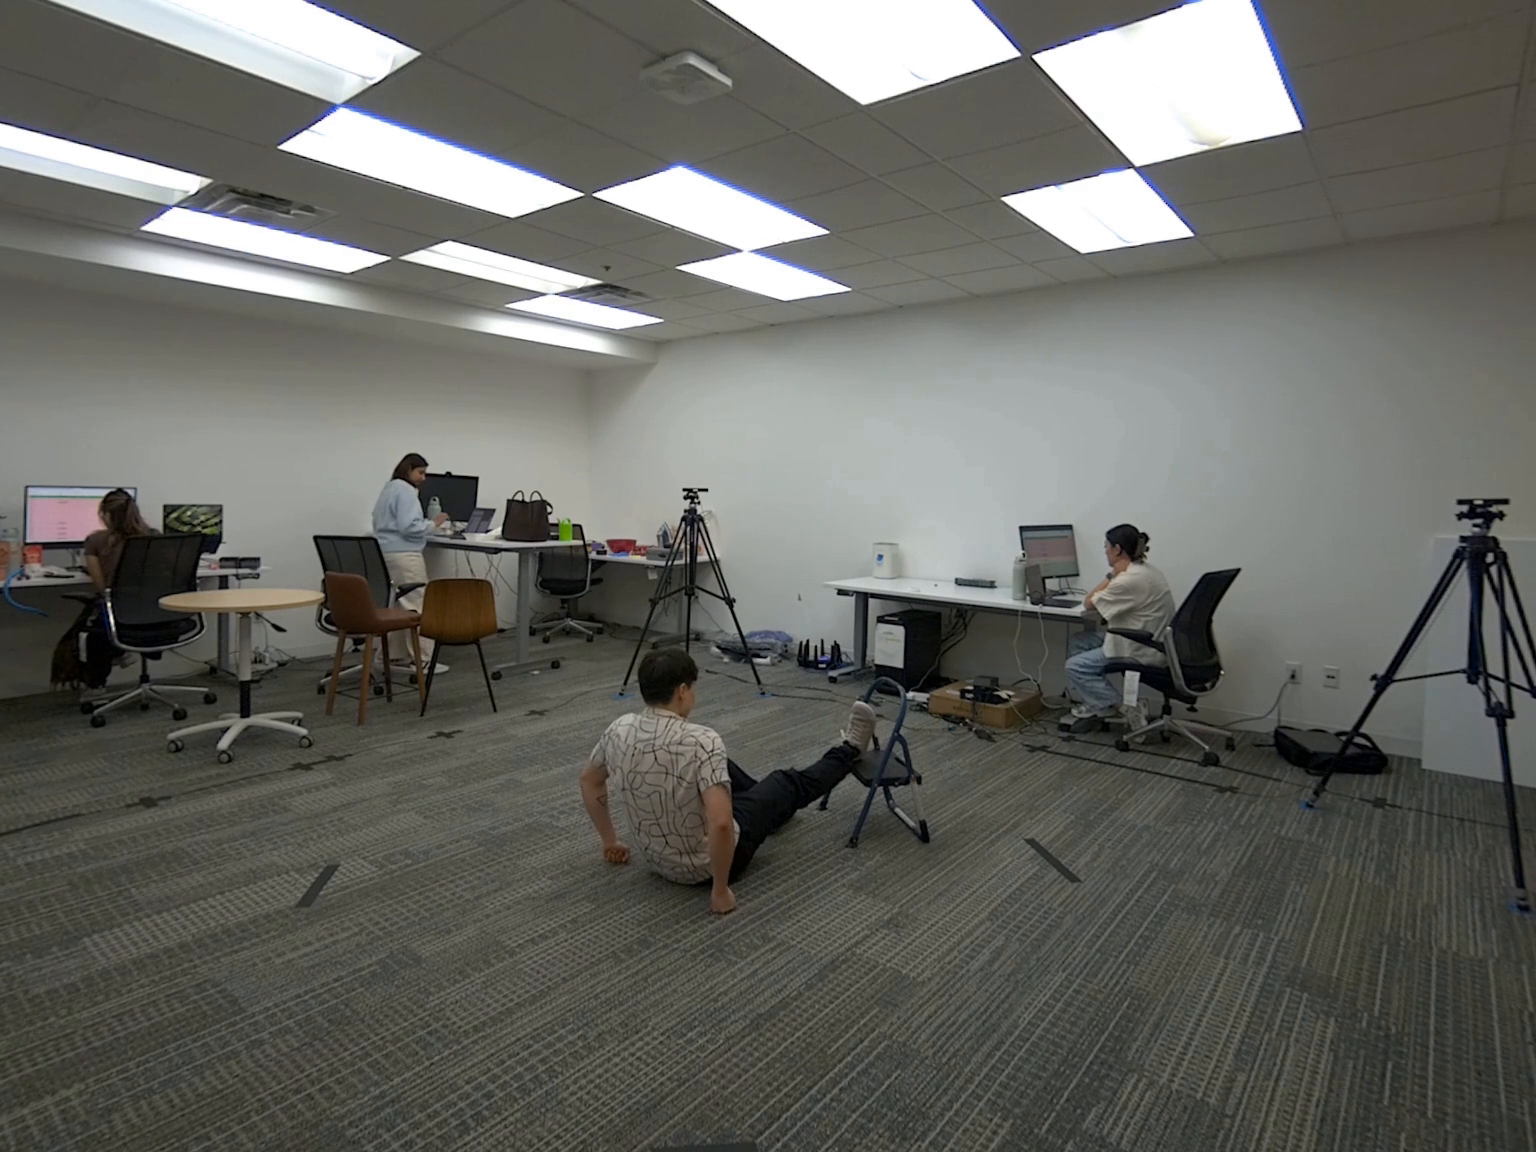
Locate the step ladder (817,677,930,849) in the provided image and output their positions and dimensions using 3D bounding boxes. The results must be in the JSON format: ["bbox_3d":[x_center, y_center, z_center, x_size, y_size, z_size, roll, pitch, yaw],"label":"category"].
[{"bbox_3d":[0.438,0.744,3.553,0.345,0.604,0.438,0,4,-13],"label":"step ladder"}]
